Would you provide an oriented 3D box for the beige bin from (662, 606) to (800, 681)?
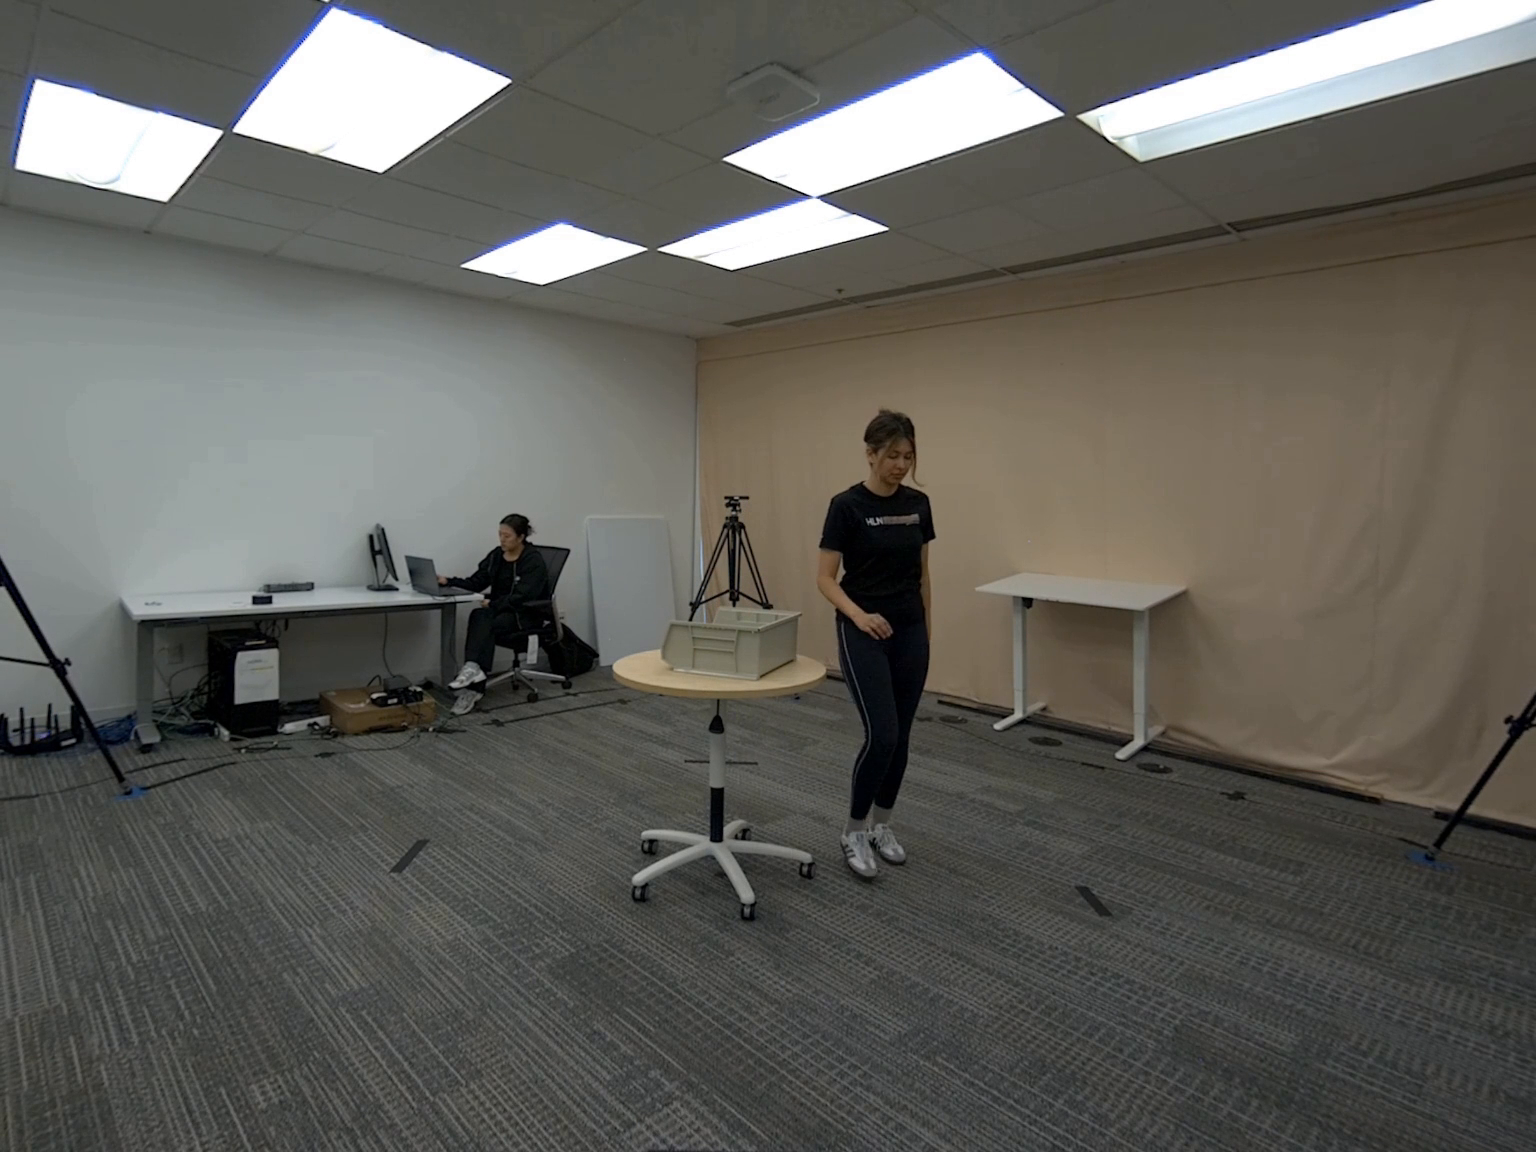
[{"bbox_3d":[-0.129,0.236,3.045,0.384,0.188,0.416,4,6,22],"label":"beige bin"}]
